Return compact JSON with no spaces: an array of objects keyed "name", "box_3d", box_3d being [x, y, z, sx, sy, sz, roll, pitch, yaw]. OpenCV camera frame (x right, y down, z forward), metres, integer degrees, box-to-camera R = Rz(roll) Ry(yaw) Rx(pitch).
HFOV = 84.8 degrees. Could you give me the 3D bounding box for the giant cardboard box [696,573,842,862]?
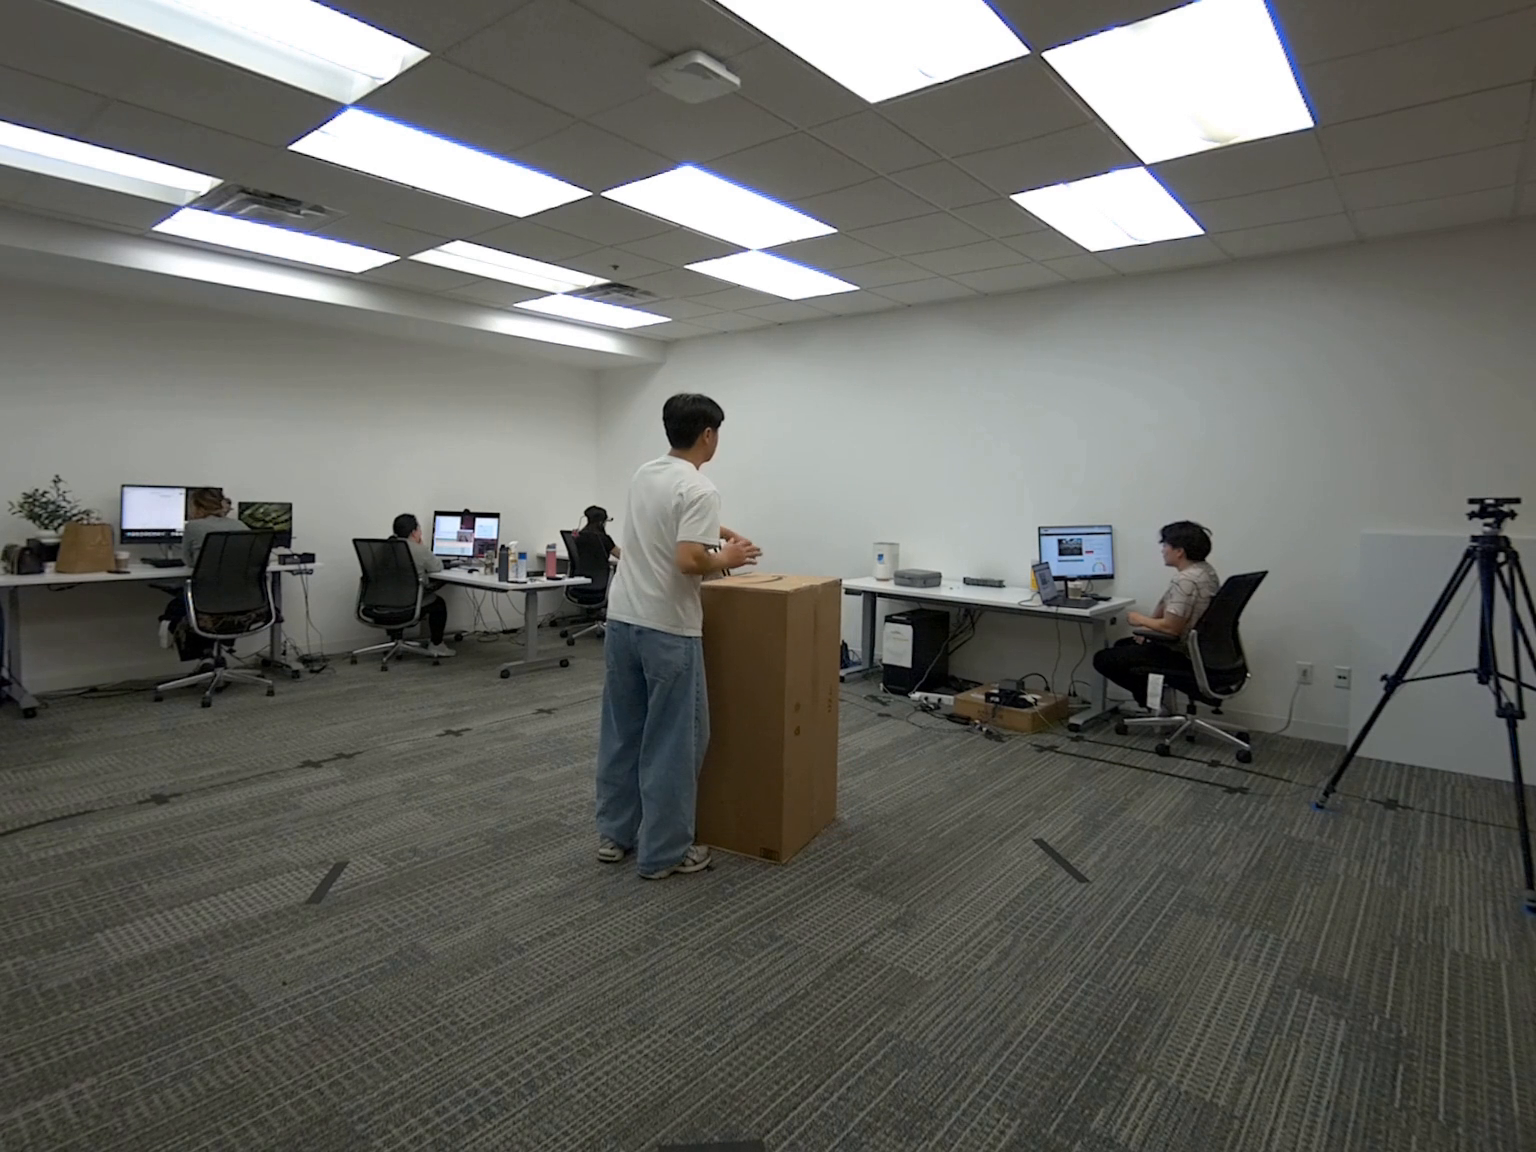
[{"name":"giant cardboard box","box_3d":[-0.014,0.524,3.464,0.438,1.023,0.564,3,4,27]}]
